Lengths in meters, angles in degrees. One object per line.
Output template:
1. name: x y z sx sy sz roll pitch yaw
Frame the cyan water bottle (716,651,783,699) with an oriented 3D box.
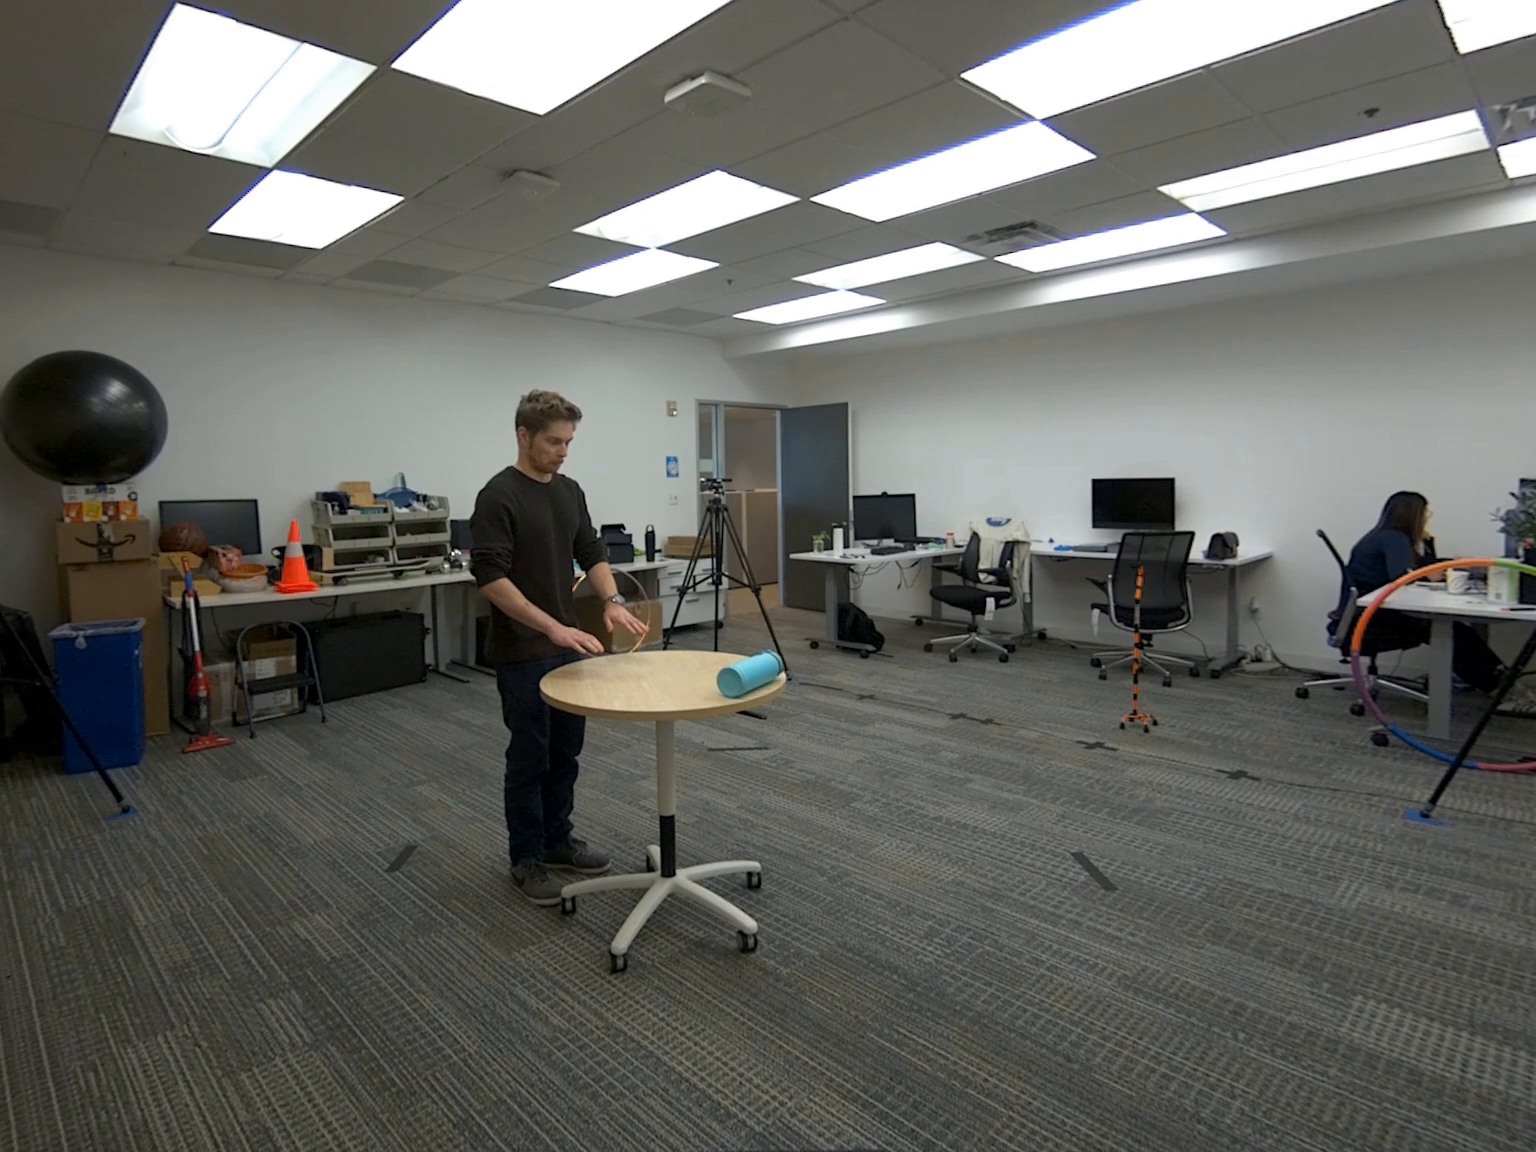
1. cyan water bottle: -0.043 0.285 2.532 0.094 0.092 0.278 1 8 27
